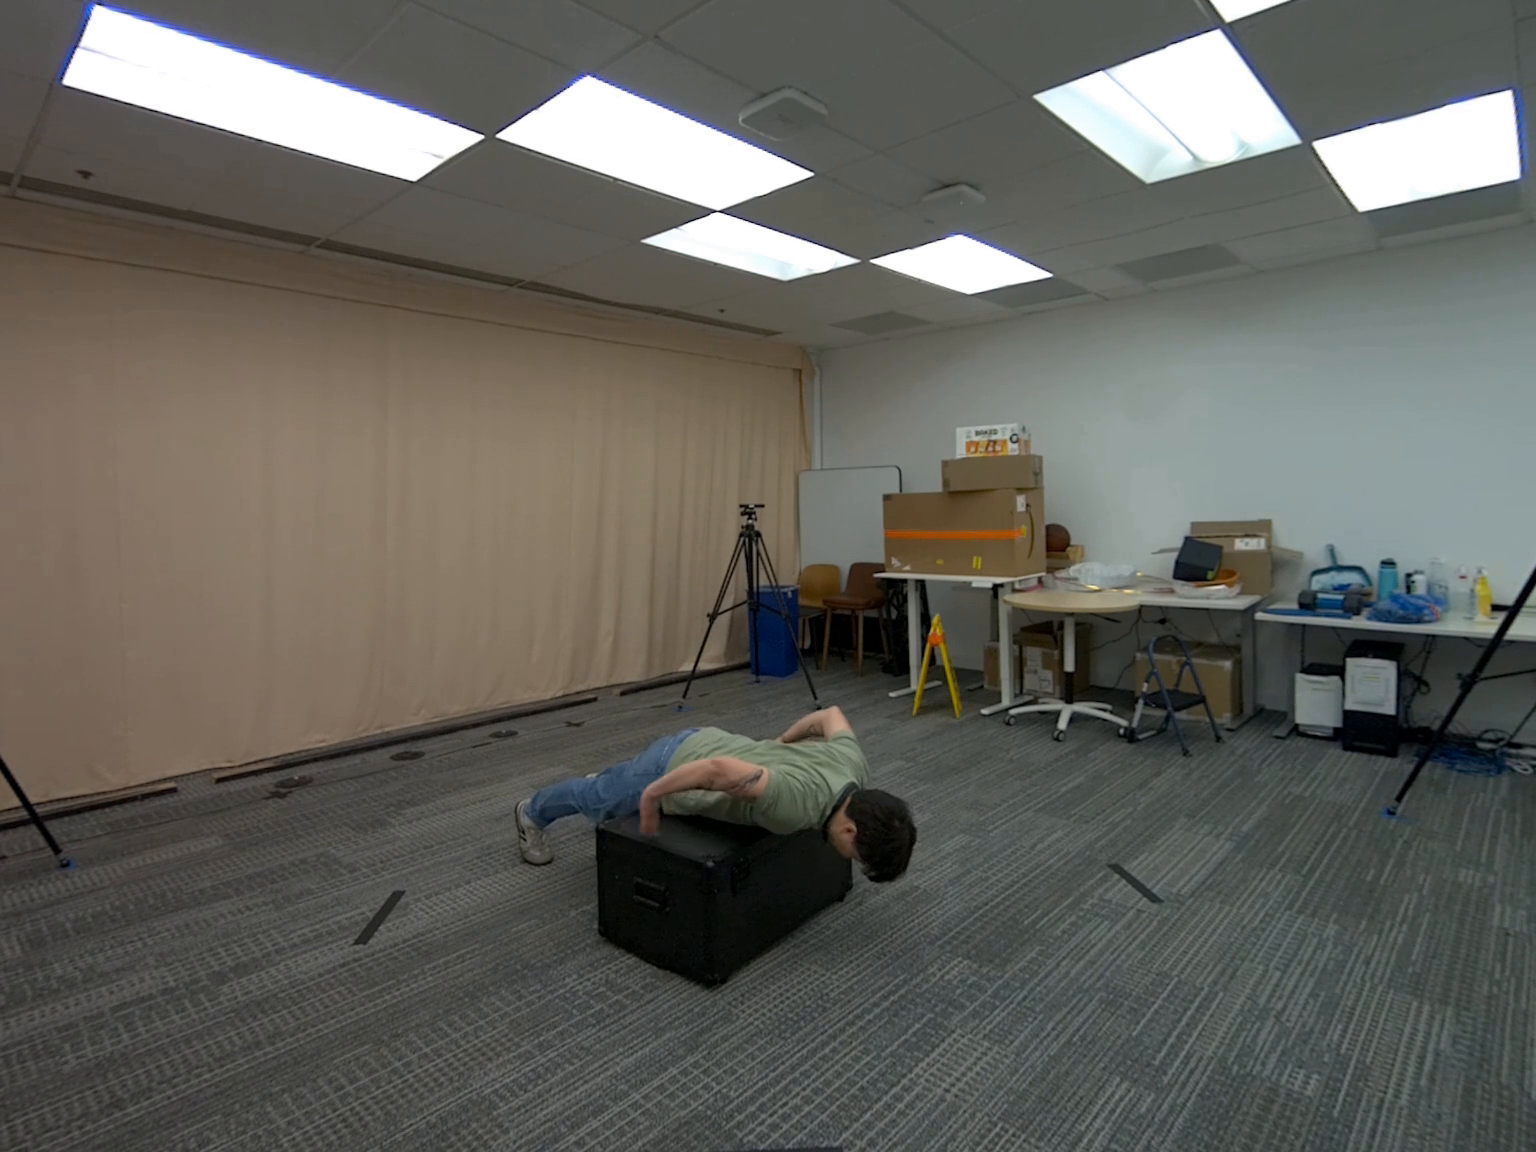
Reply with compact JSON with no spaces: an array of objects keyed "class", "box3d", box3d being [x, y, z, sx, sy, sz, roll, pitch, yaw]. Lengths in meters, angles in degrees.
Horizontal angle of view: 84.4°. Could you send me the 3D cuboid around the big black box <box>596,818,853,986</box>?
[{"class":"big black box","box3d":[-0.095,0.966,2.861,0.538,0.395,0.837,2,8,37]}]
